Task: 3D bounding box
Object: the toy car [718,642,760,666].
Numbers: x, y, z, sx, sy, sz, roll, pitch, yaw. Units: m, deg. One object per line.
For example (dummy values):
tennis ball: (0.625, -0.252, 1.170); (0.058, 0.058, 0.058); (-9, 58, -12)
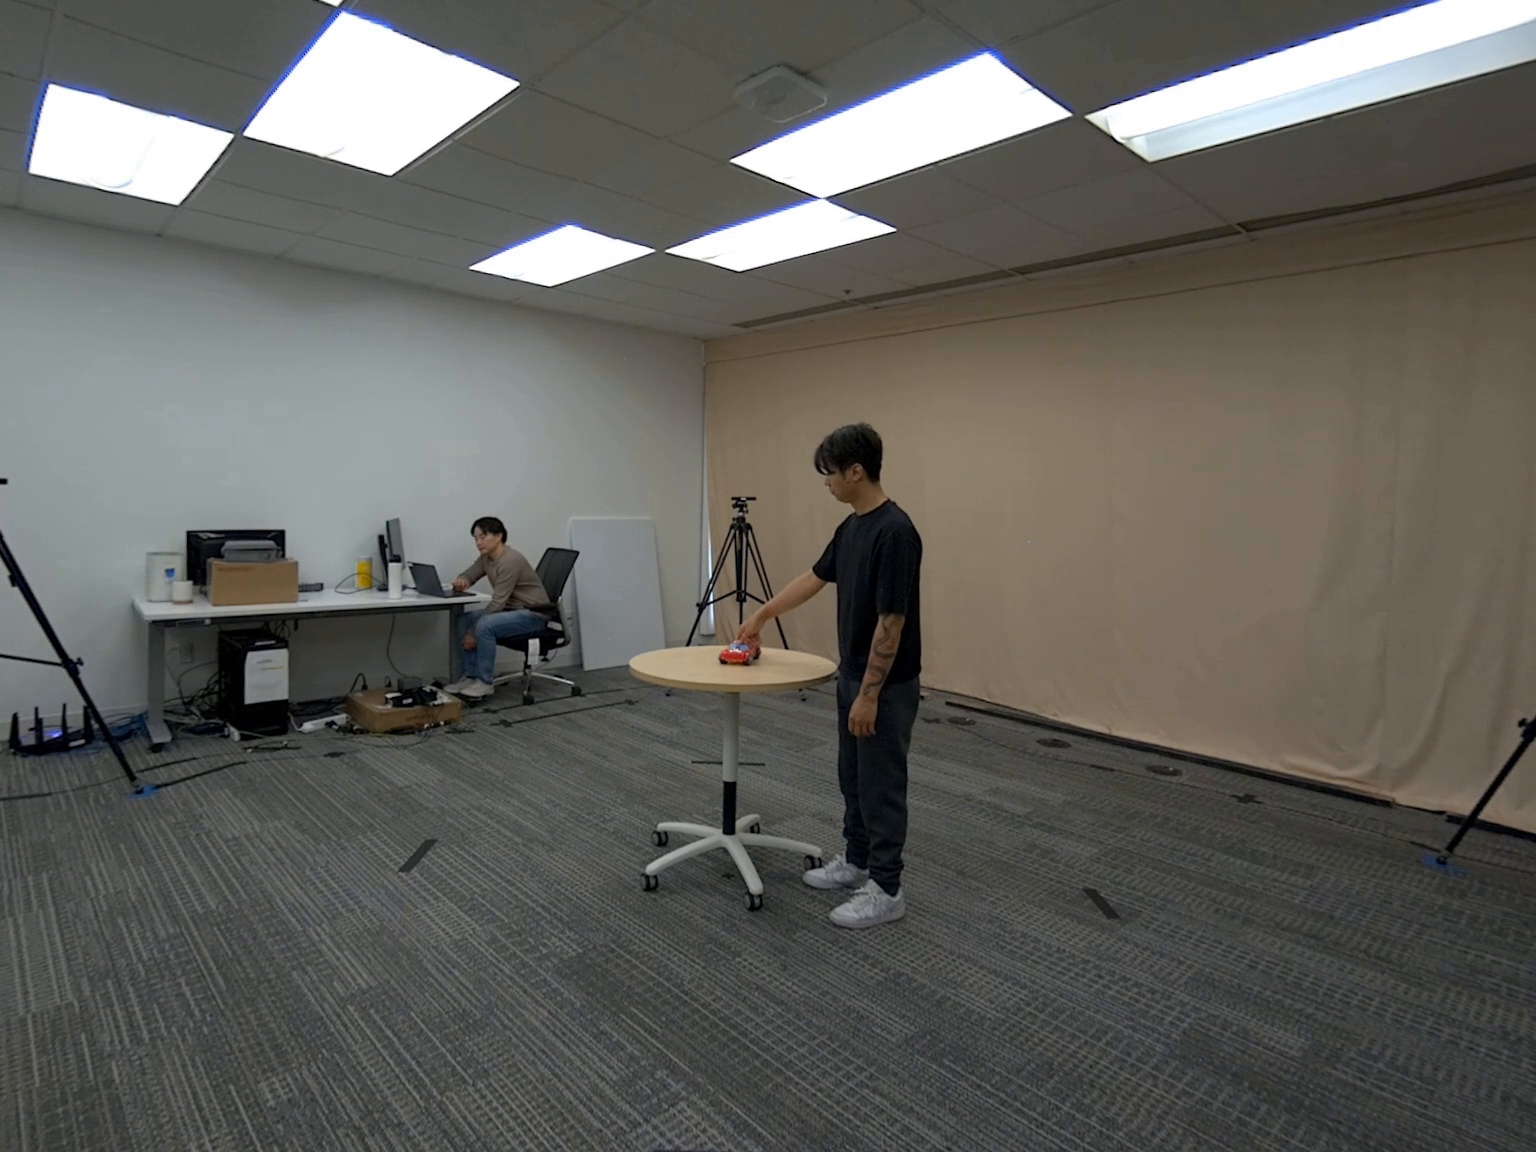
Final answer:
toy car: (-0.108, 0.289, 3.182); (0.132, 0.082, 0.254); (2, 15, 13)
